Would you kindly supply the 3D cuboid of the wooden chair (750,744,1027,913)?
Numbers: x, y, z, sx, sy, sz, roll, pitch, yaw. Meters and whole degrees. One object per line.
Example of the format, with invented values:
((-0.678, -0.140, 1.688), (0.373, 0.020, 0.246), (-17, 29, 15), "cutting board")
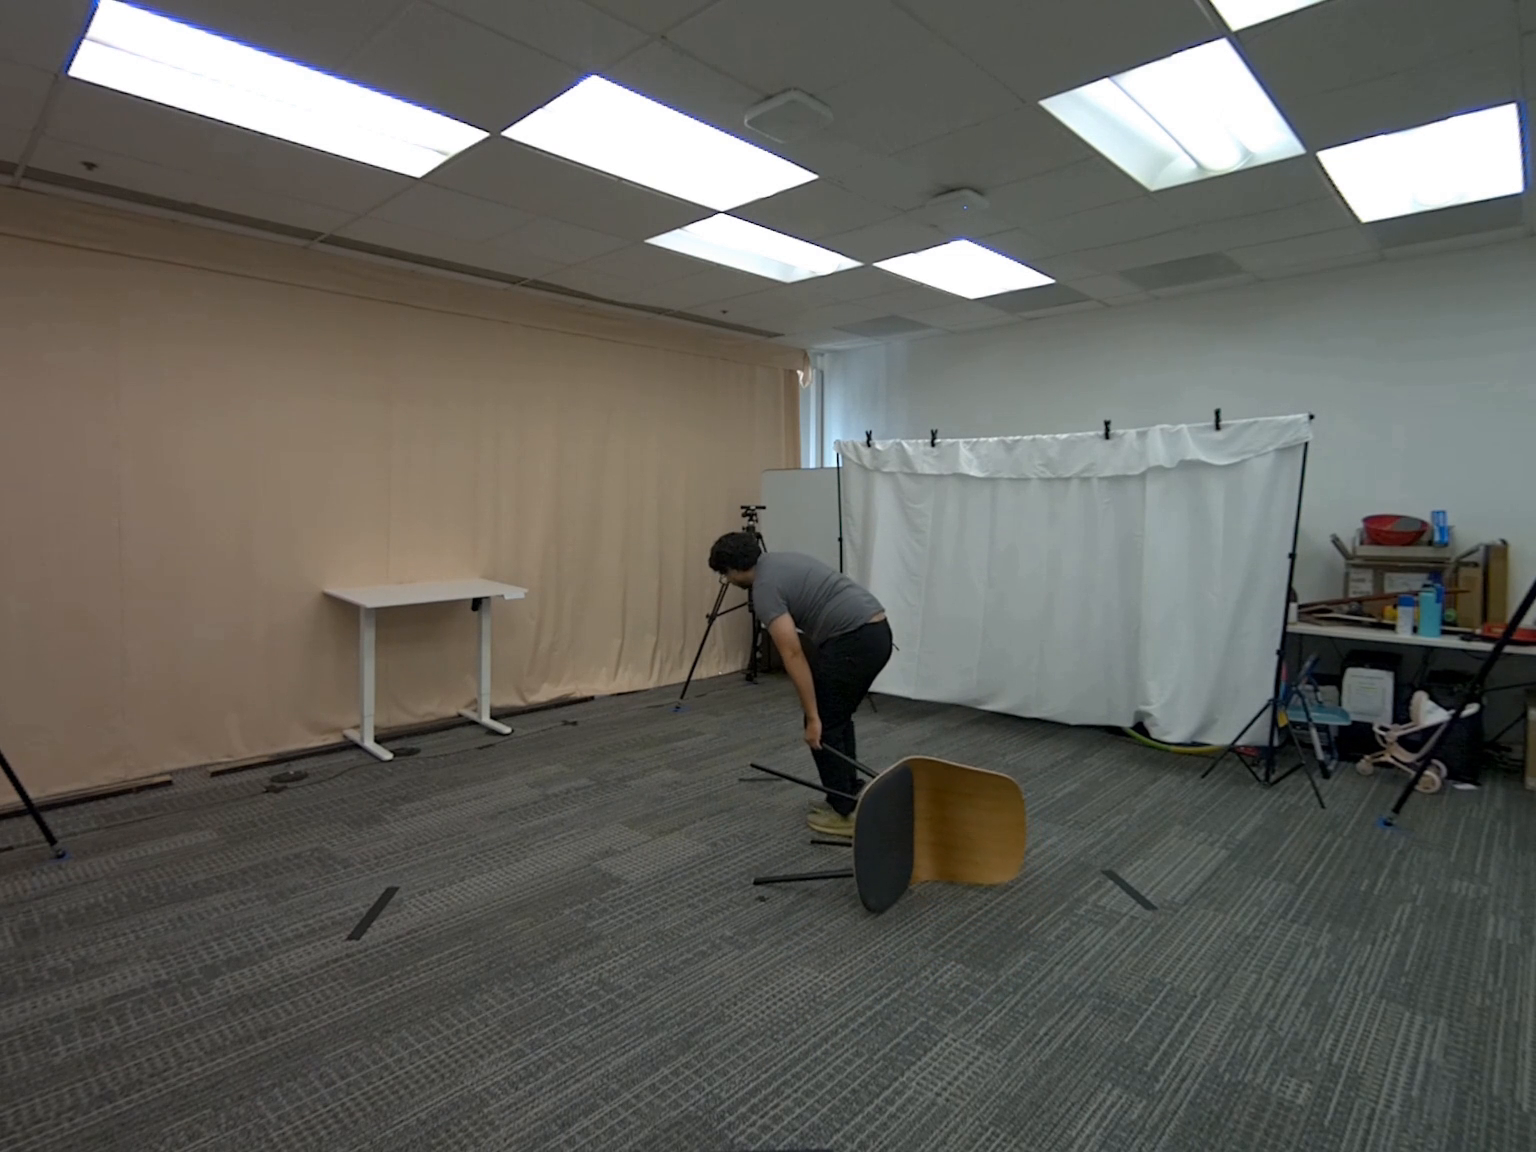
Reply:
((0.422, 0.909, 3.016), (0.902, 0.477, 0.510), (2, 5, 29), "wooden chair")
